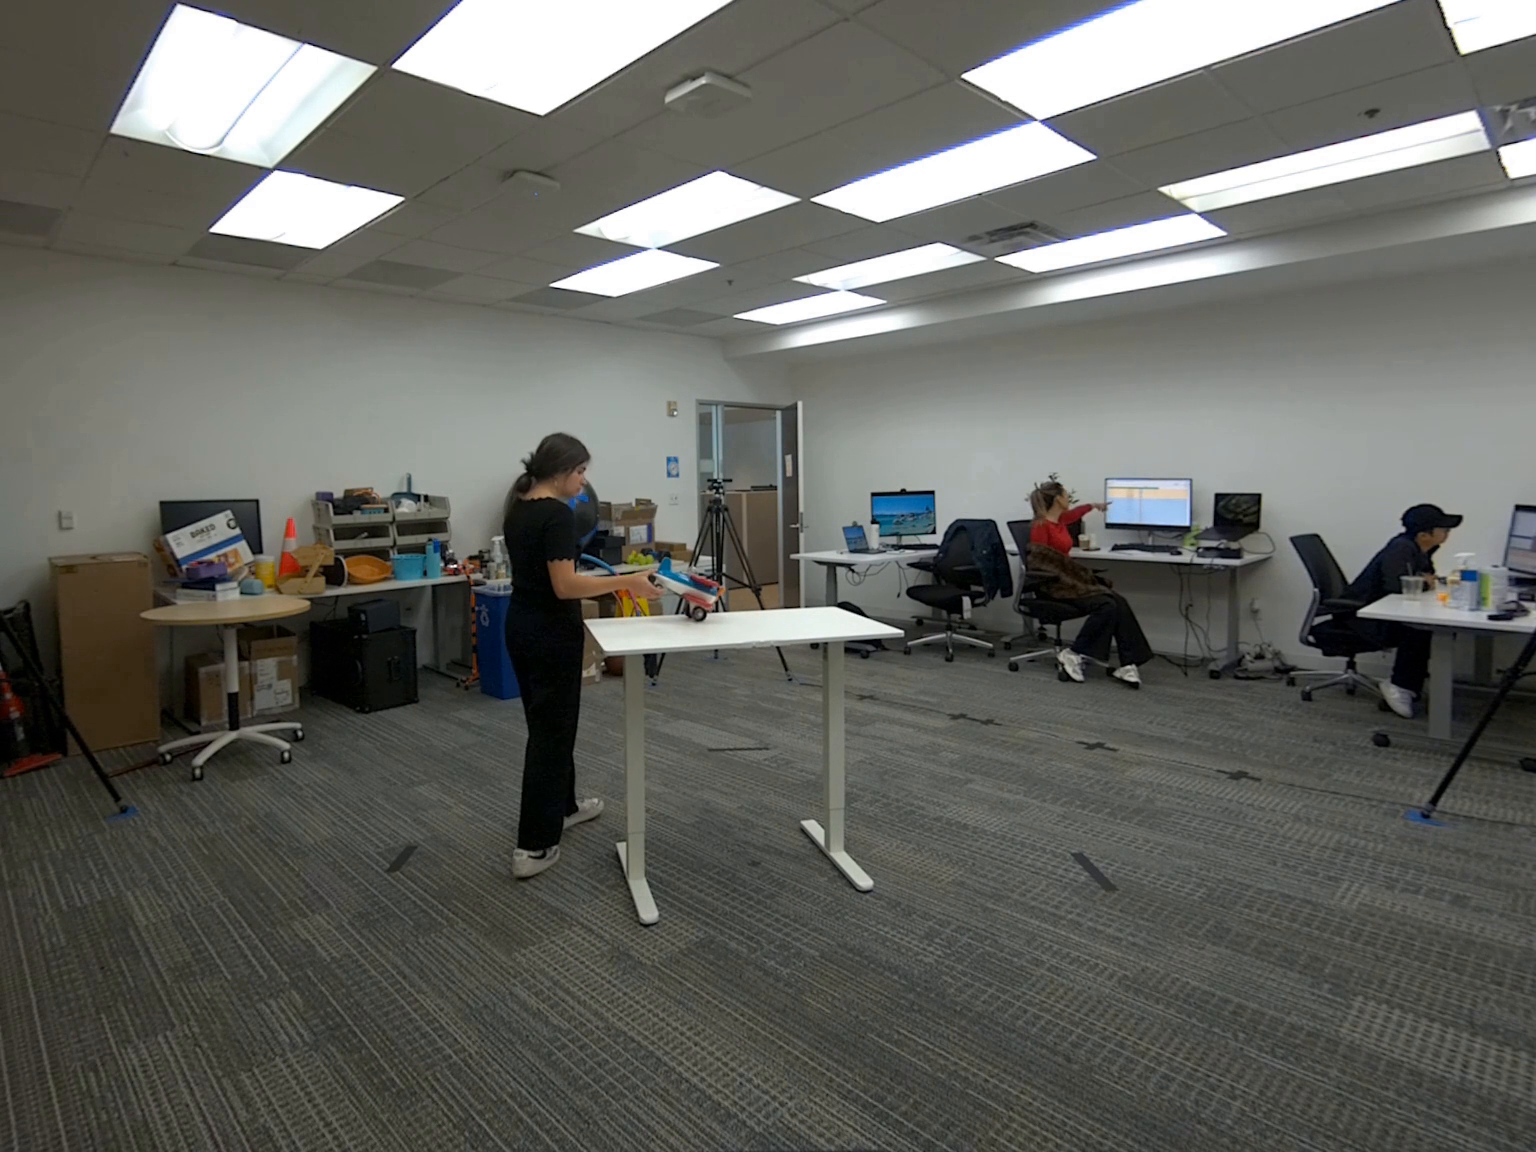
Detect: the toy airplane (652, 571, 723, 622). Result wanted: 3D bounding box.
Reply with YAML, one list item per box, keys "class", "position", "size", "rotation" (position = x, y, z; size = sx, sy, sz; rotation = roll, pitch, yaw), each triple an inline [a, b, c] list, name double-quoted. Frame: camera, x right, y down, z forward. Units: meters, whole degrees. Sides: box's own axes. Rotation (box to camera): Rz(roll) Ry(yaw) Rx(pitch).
- class: "toy airplane"
  position: [-0.297, 0.048, 3.116]
  size: [0.261, 0.157, 0.249]
  rotation: [26, -13, 40]
